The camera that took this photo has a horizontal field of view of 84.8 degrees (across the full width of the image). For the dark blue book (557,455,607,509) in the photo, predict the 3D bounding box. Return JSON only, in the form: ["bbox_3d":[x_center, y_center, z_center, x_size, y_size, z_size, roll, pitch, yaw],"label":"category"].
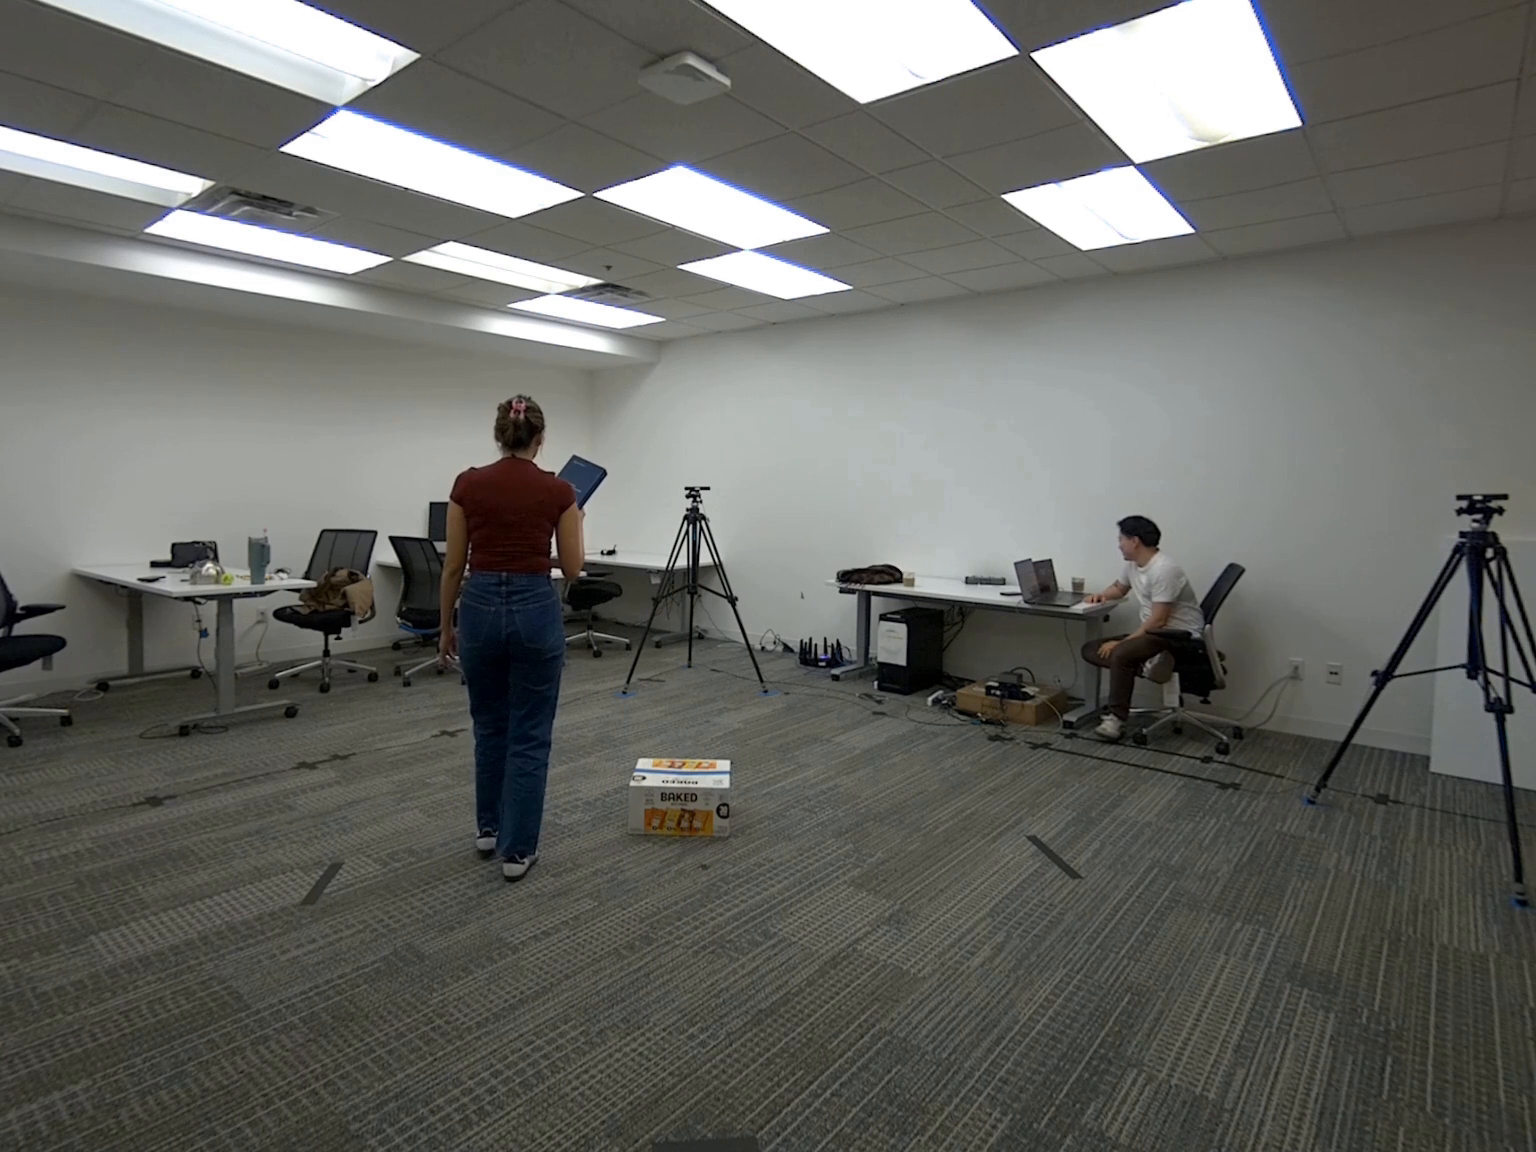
[{"bbox_3d":[-0.797,-0.361,3.424,0.168,0.246,0.044,23,-23,19],"label":"dark blue book"}]
